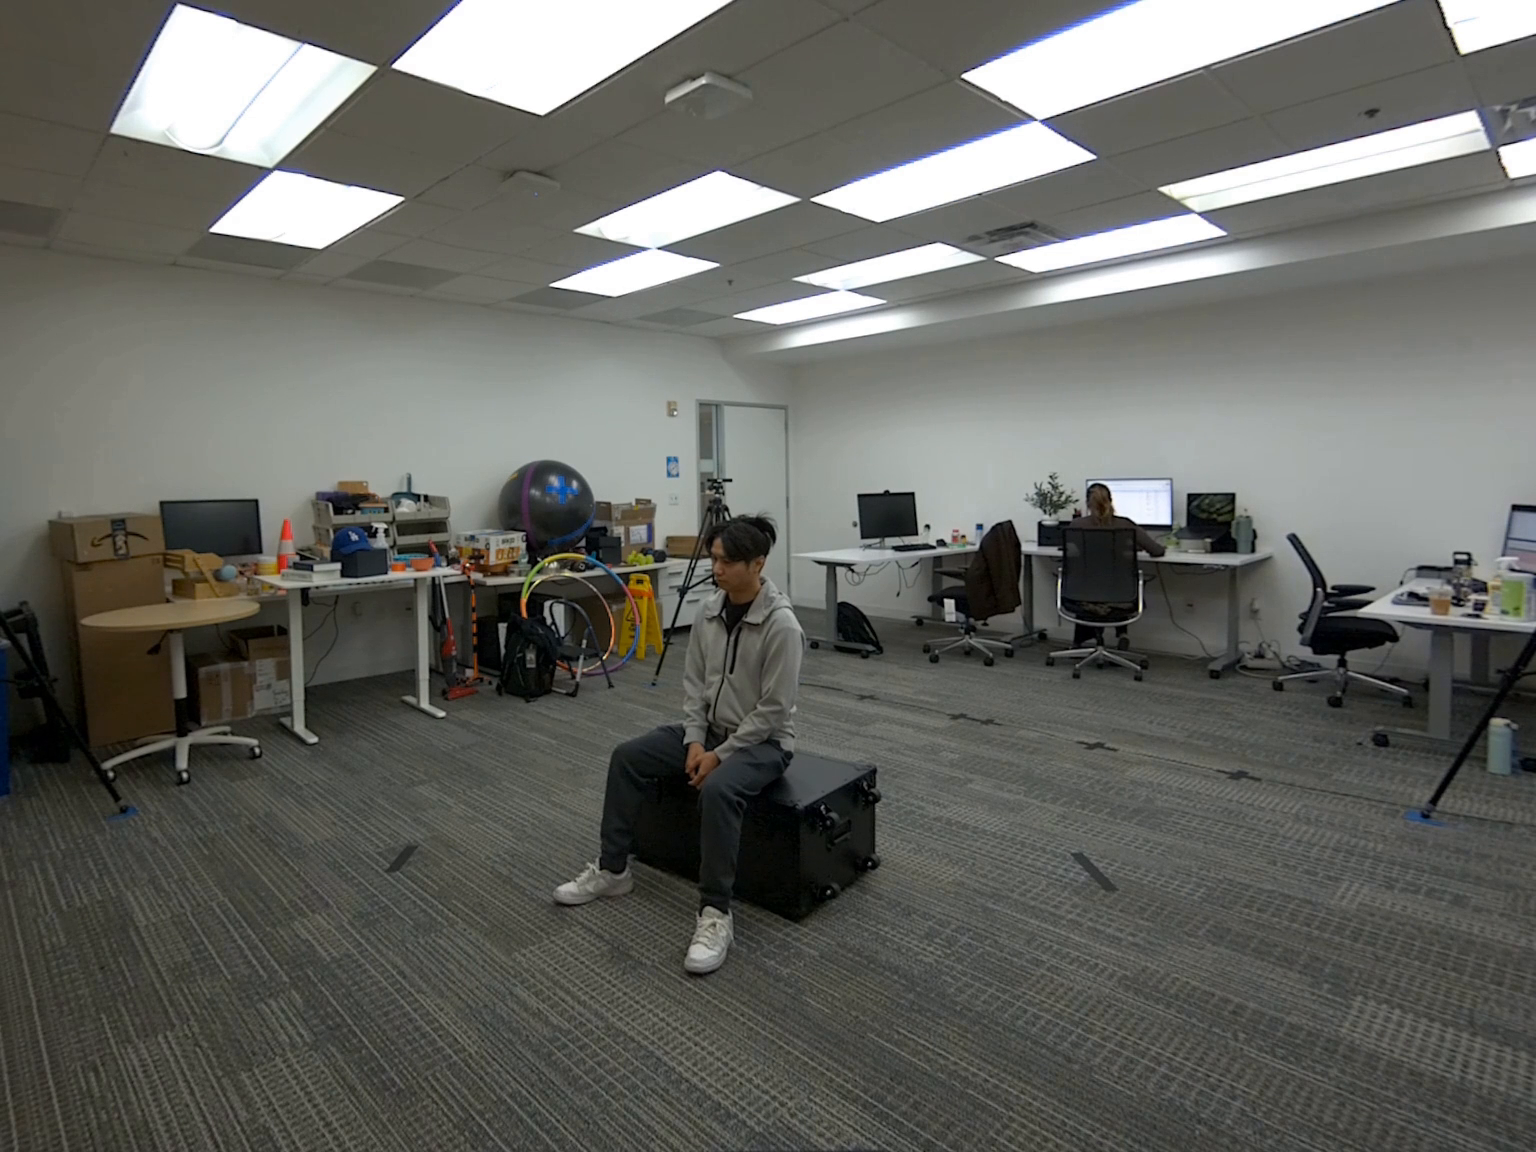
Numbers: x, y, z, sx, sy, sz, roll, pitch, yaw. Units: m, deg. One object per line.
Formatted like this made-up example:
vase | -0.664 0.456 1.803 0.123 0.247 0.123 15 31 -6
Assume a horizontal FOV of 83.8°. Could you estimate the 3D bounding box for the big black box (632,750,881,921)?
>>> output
big black box | -0.088 0.861 3.117 0.887 0.394 0.508 4 7 39
